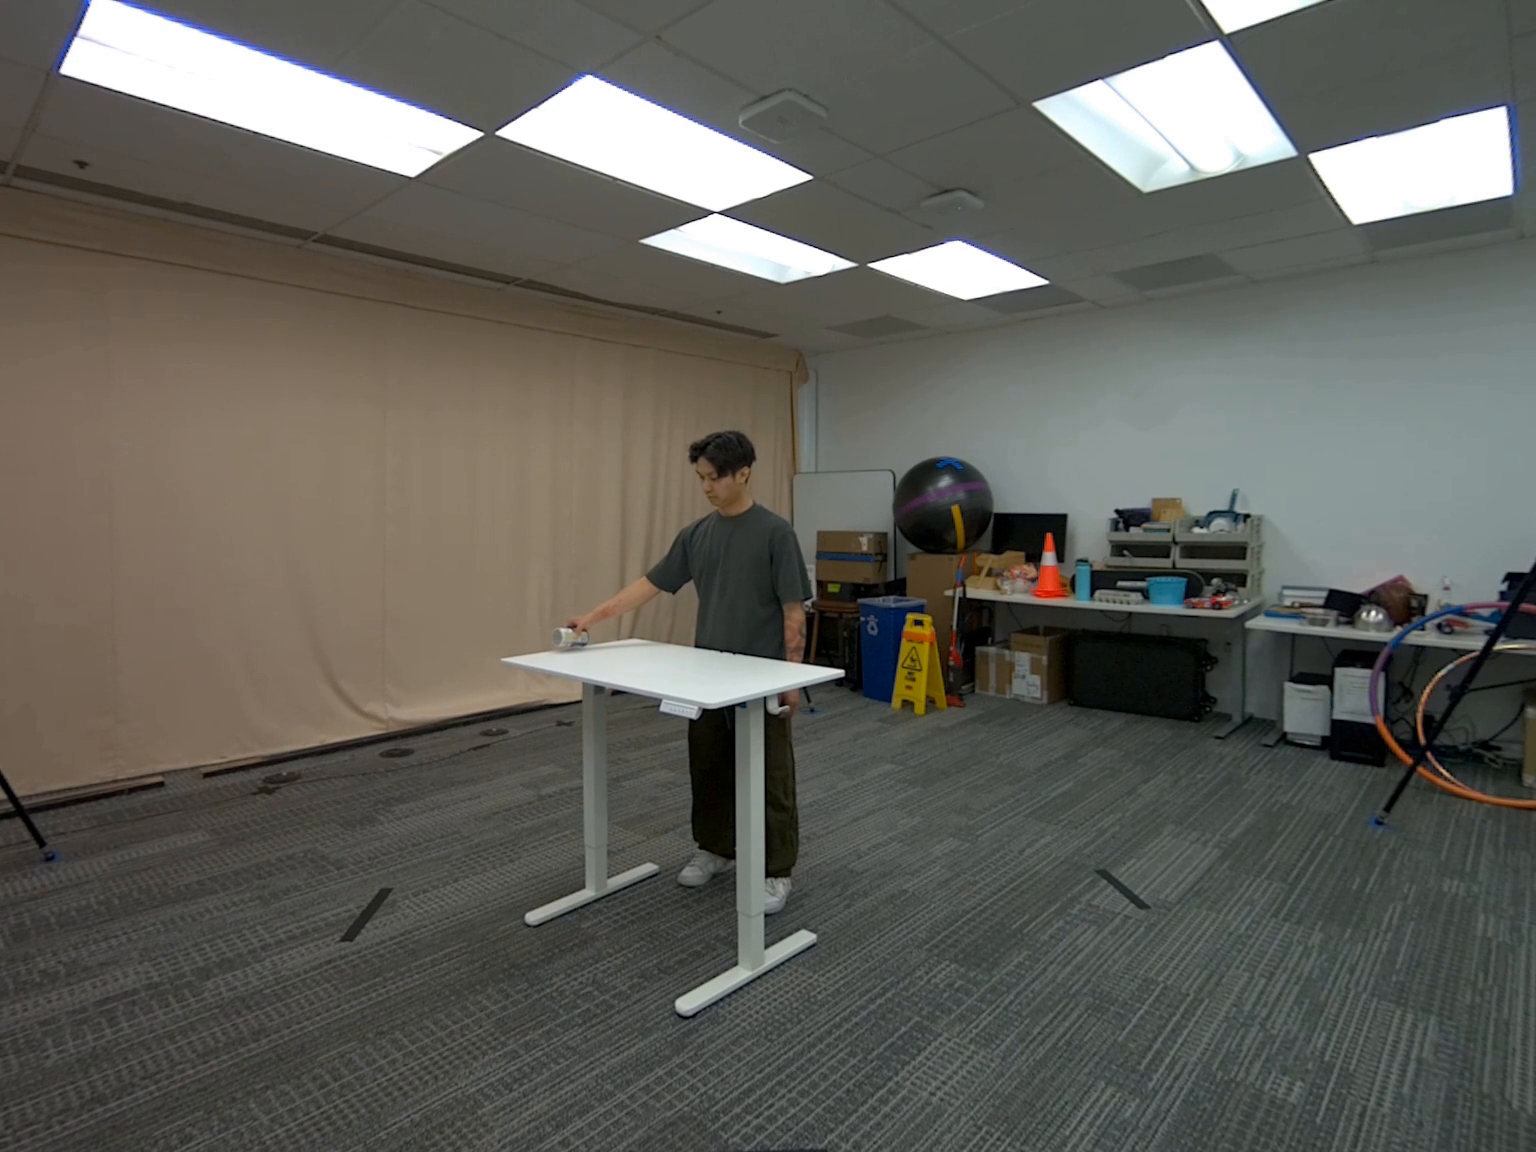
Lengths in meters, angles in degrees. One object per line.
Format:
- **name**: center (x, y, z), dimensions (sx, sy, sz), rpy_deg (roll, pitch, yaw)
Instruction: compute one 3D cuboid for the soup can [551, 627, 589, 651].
- **soup can**: center (-0.697, 0.218, 3.010), dimensions (0.118, 0.067, 0.069), rpy_deg (8, -1, -29)
